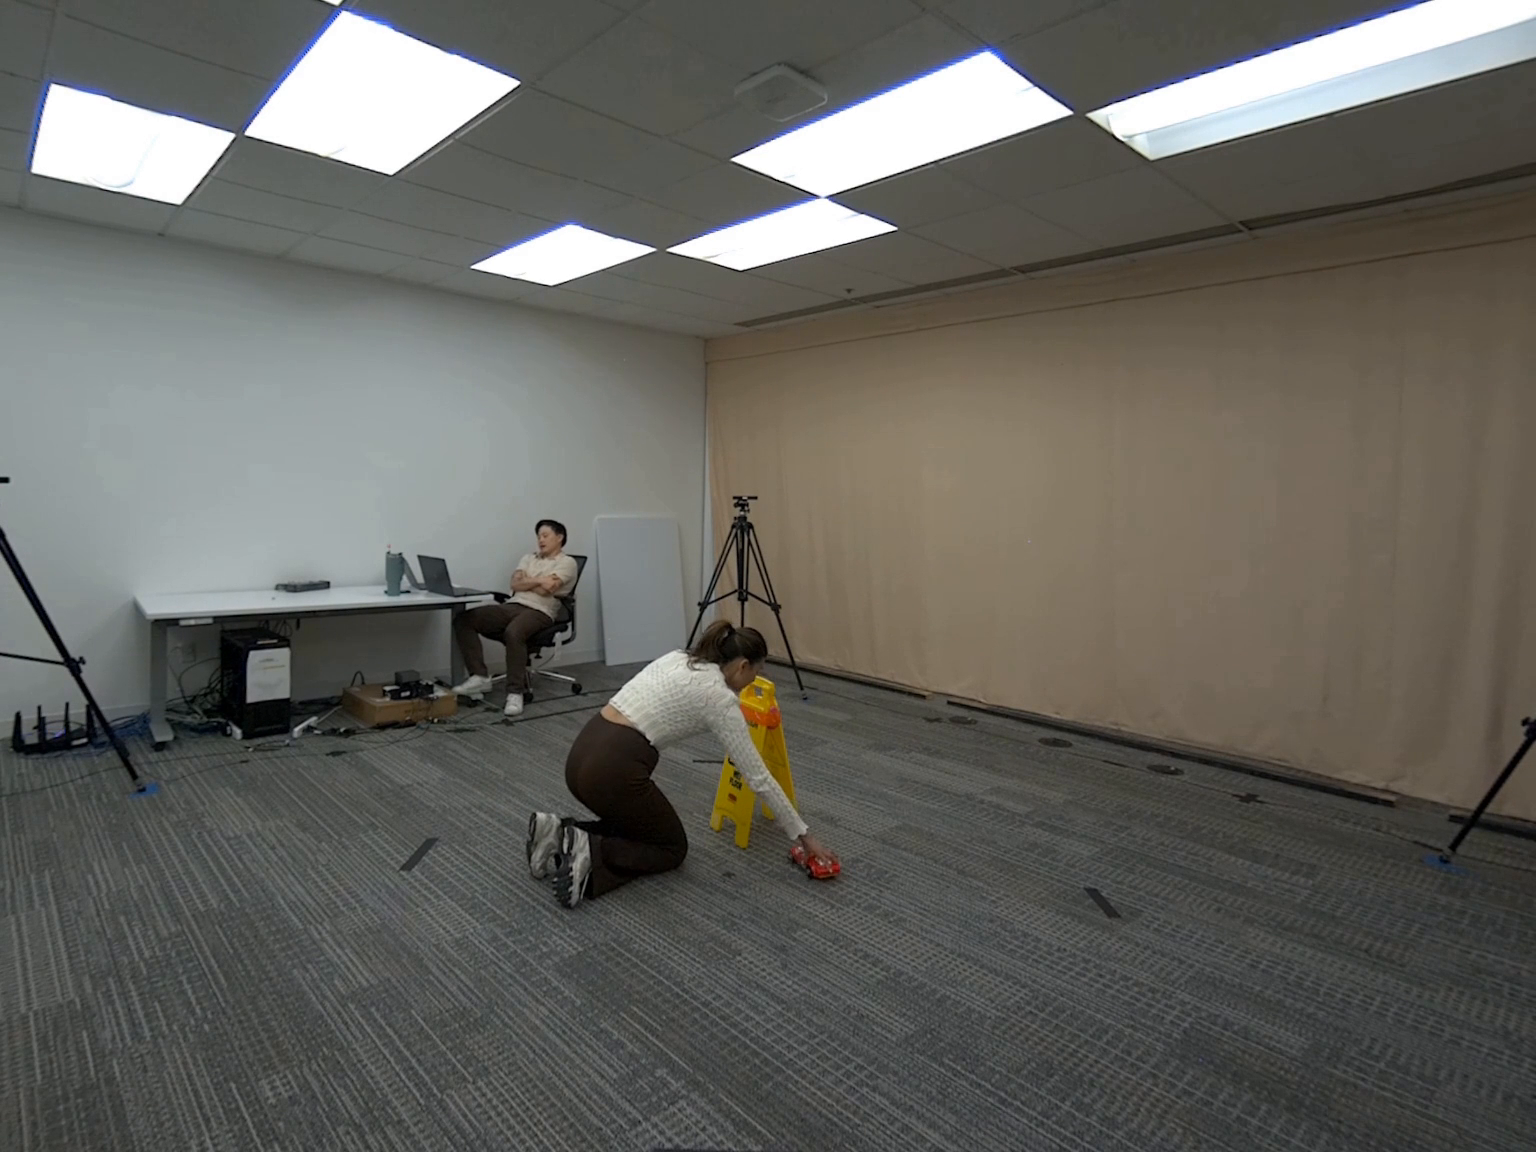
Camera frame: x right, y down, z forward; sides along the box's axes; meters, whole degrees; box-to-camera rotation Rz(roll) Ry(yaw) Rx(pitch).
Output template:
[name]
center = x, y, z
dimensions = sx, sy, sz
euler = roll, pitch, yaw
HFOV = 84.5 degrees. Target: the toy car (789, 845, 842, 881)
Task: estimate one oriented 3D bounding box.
[toy car]
center = 0.158, 1.072, 3.167
dimensions = 0.128, 0.083, 0.258
euler = 1, -5, -25
